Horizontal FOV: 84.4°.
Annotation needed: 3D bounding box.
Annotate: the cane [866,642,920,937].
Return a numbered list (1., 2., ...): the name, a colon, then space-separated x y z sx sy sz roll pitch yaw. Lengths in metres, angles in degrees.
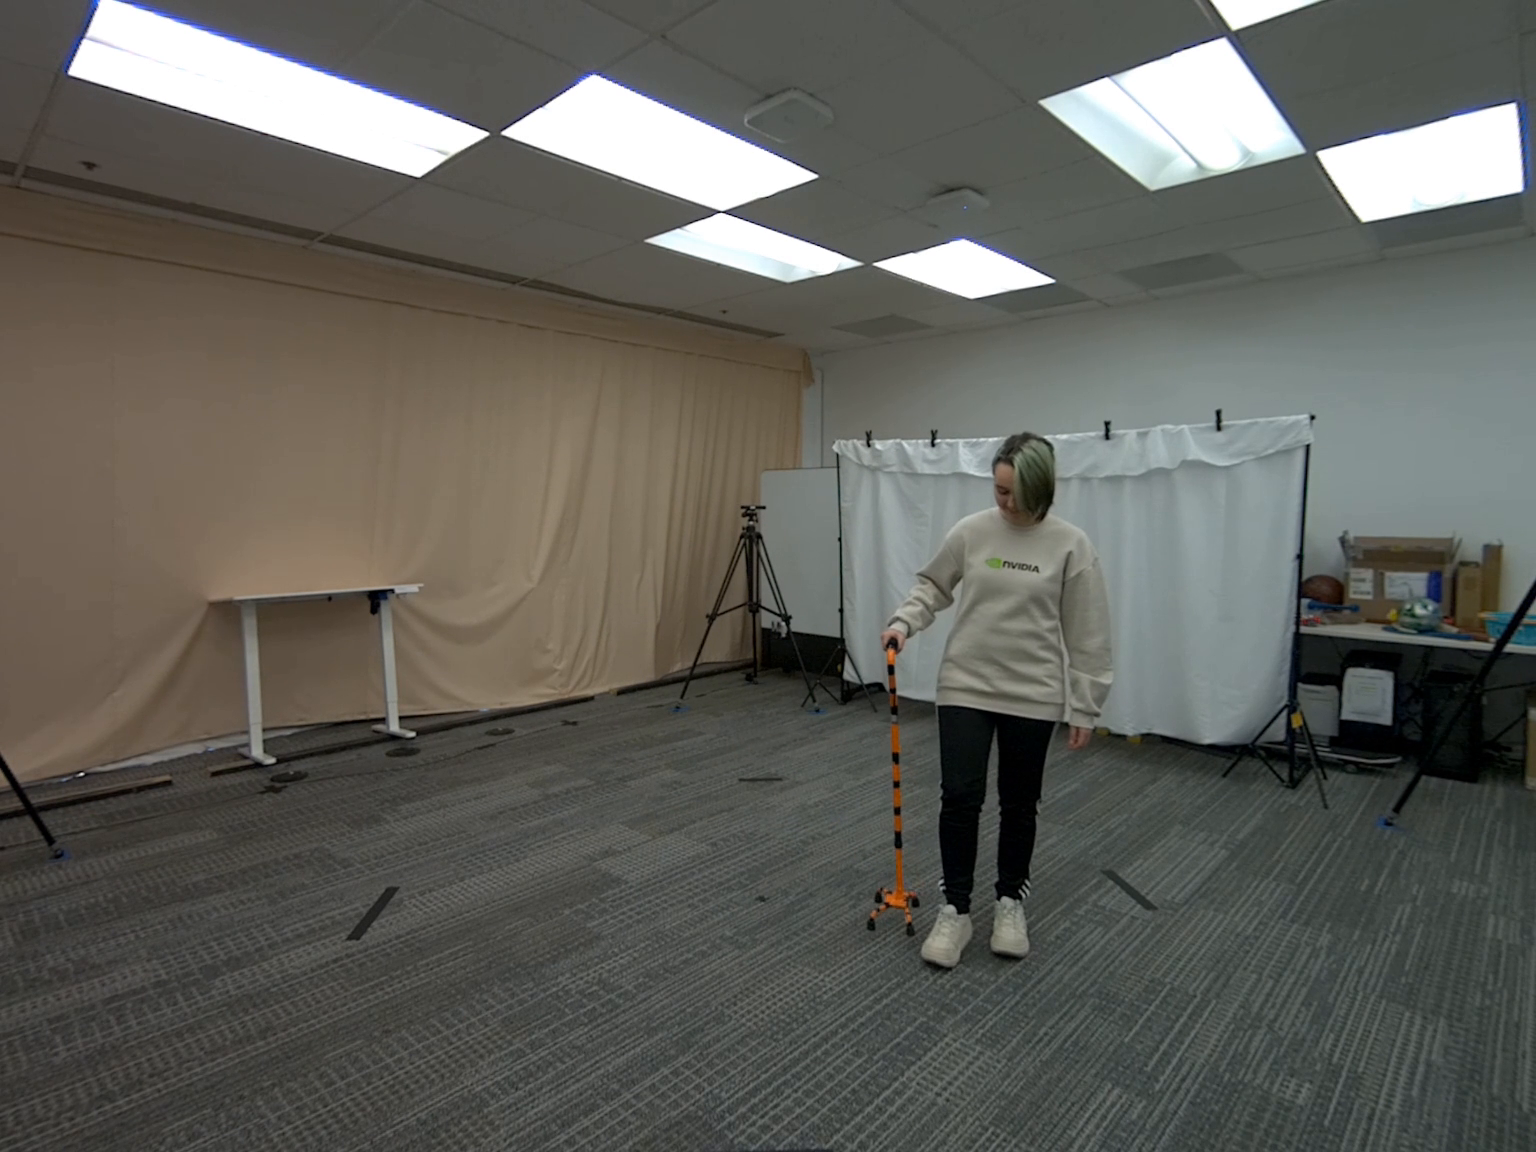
1. cane: 0.398 0.672 2.696 0.154 0.904 0.204 -1 6 15
